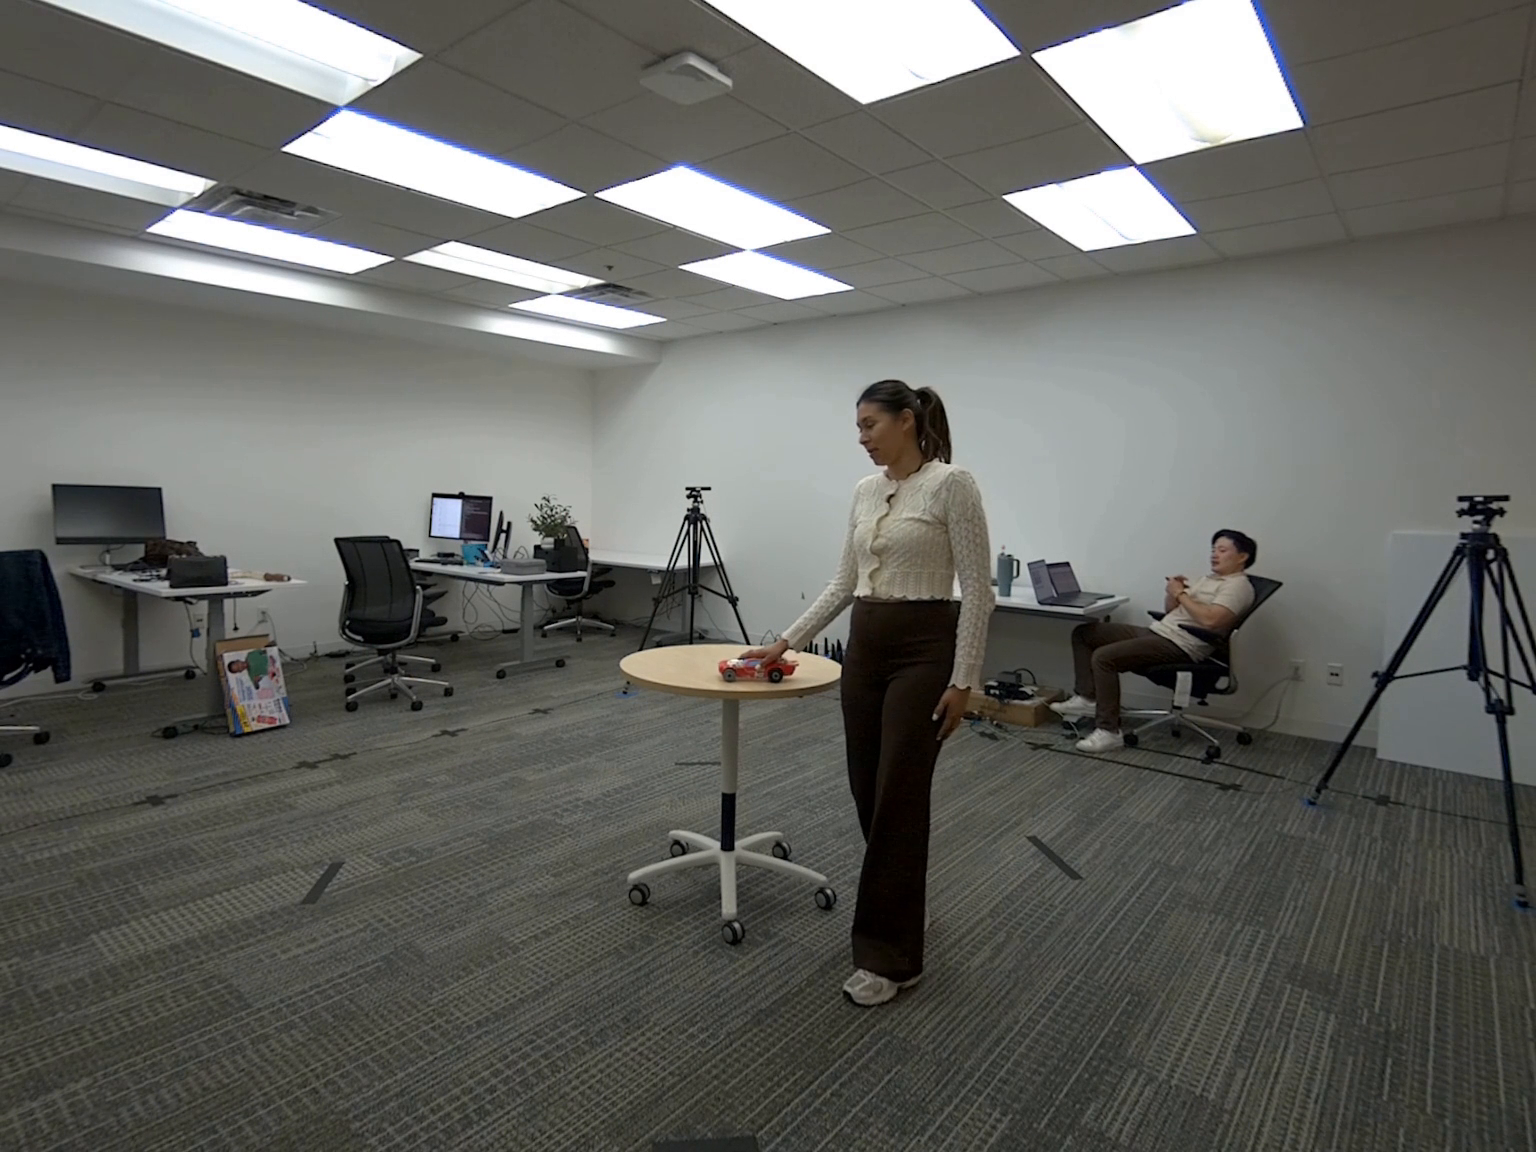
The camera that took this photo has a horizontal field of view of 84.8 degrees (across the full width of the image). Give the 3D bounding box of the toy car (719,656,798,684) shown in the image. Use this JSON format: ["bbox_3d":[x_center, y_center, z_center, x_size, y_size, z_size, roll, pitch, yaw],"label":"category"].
[{"bbox_3d":[-0.034,0.293,2.698,0.255,0.083,0.131,-9,5,1],"label":"toy car"}]
